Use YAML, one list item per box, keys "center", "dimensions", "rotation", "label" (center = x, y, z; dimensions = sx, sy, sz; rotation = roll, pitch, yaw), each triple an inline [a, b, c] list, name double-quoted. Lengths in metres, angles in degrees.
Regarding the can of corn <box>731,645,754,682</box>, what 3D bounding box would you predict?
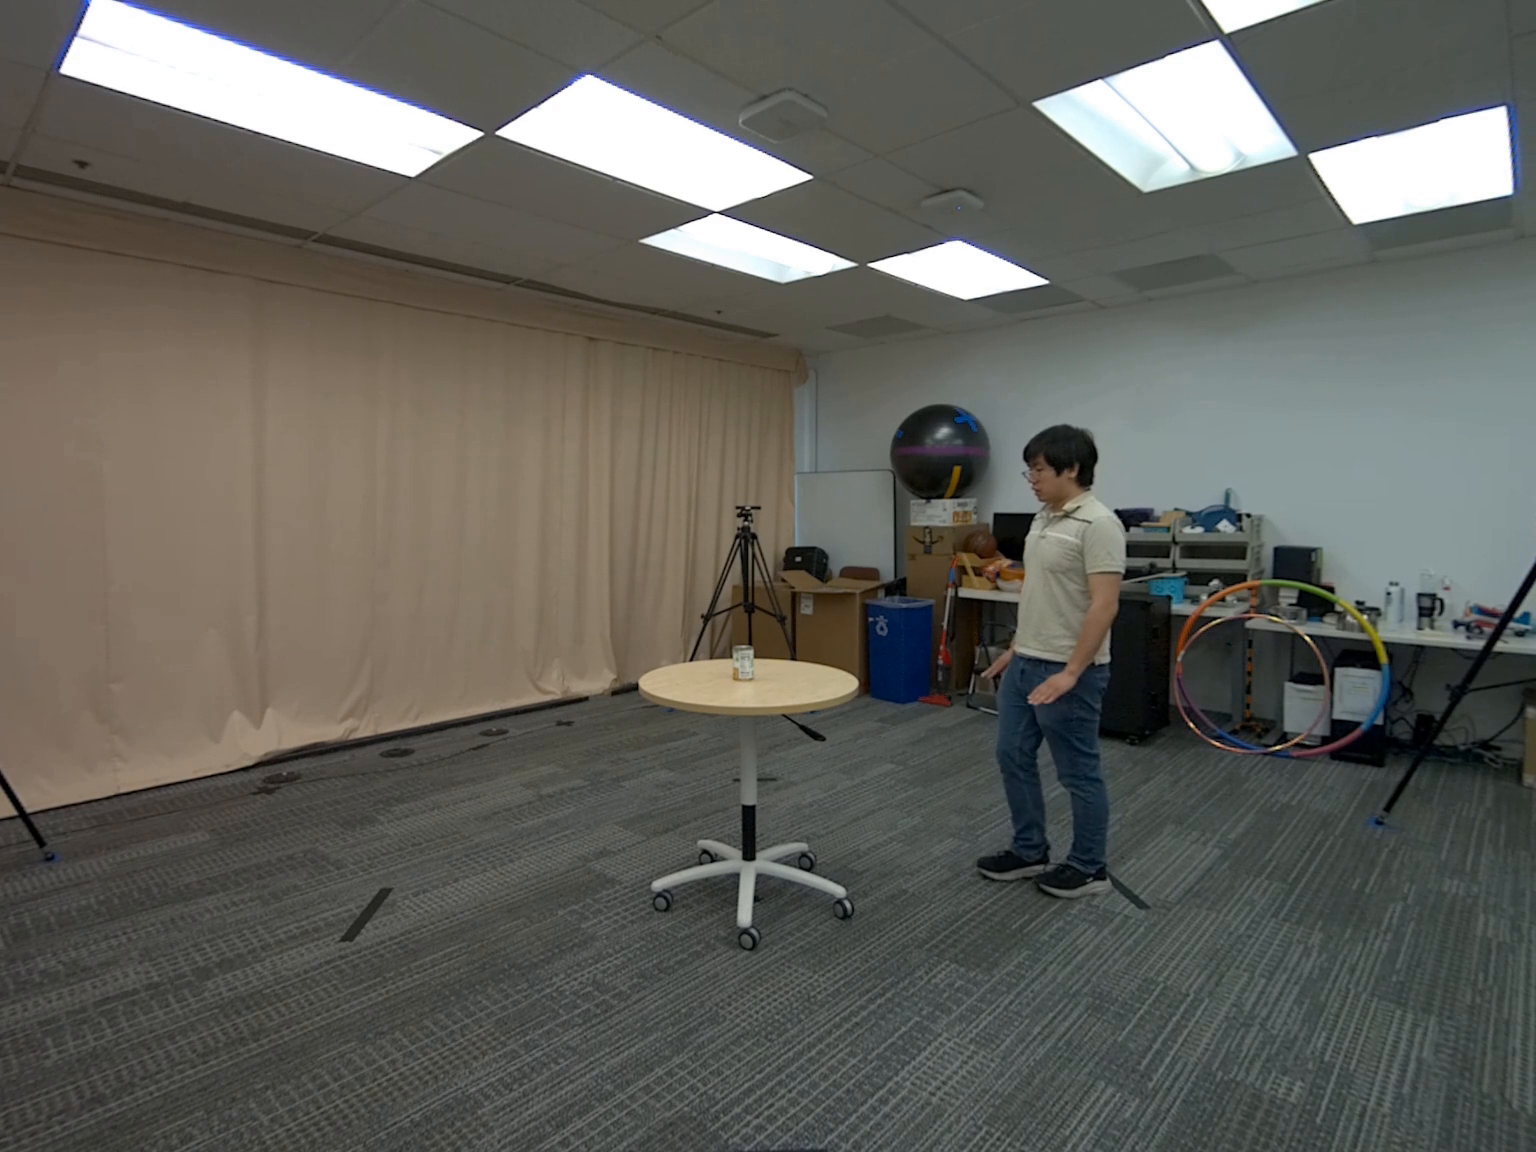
- center: [-0.083, 0.312, 2.959]
  dimensions: [0.074, 0.111, 0.074]
  rotation: [-1, 5, -2]
  label: "can of corn"
